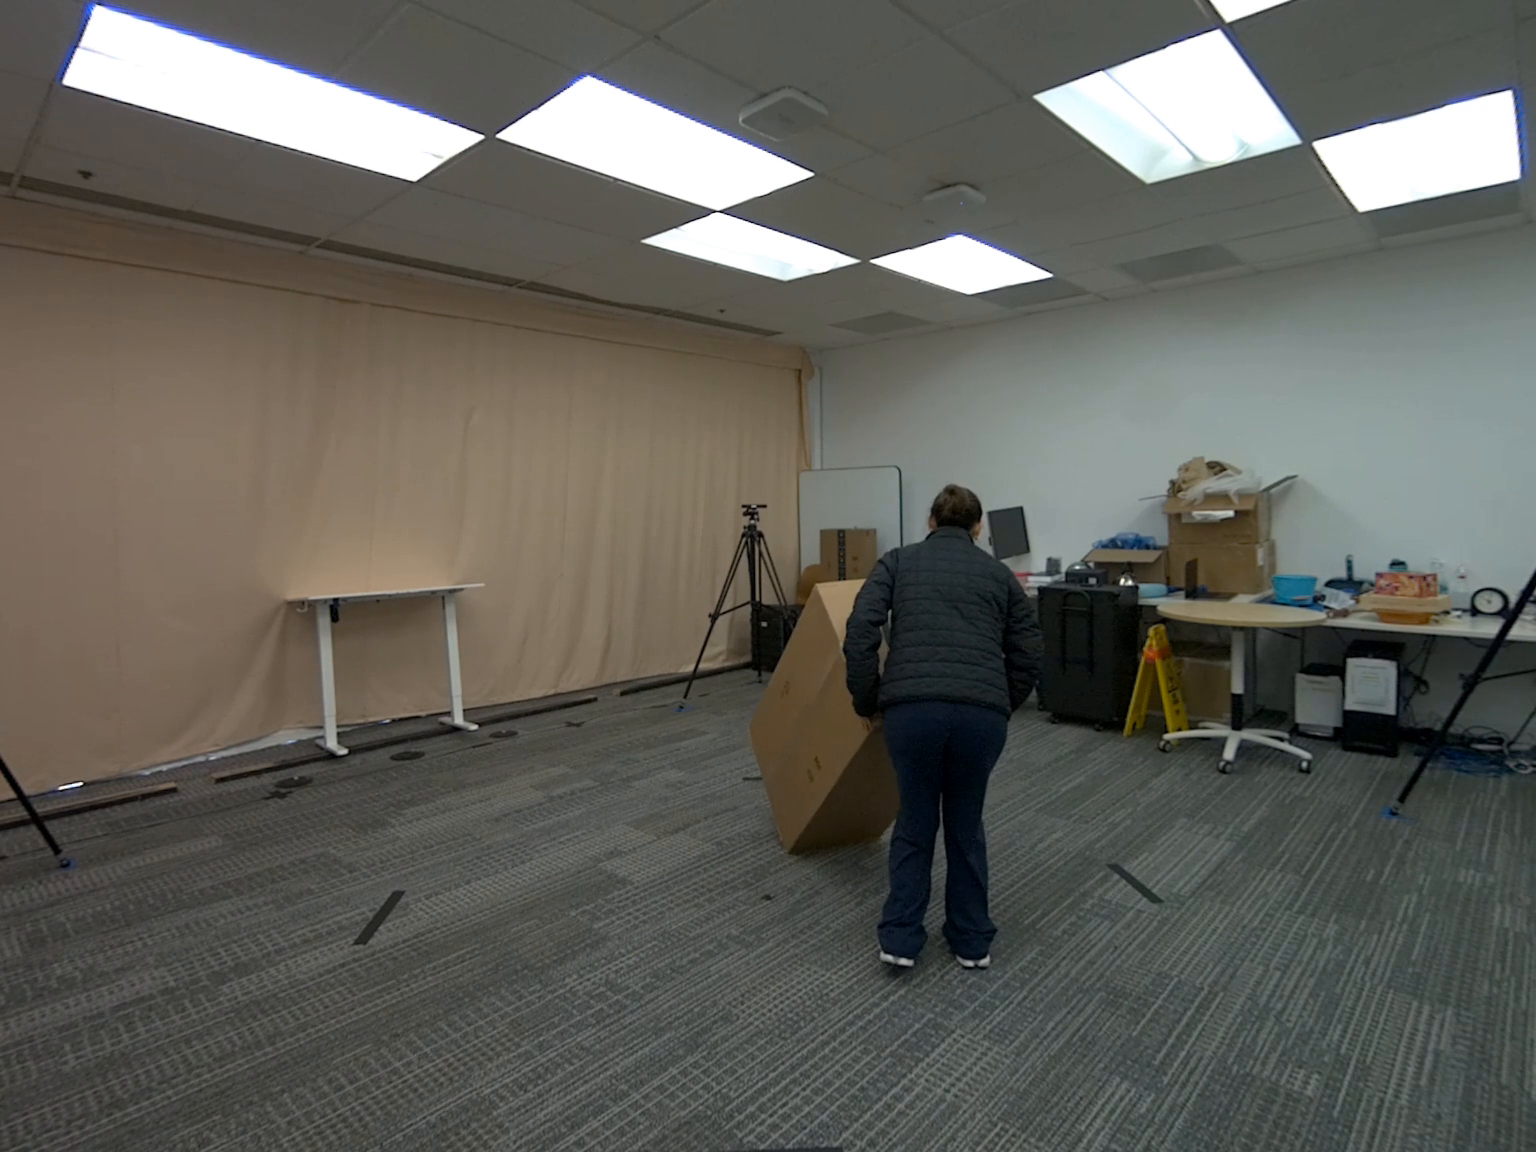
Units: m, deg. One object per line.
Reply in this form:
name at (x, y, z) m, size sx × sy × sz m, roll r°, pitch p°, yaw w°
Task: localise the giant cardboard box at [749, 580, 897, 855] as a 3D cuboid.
giant cardboard box at (0.327, 0.553, 3.233) m, size 0.438 × 0.599 × 1.020 m, roll -2°, pitch -39°, yaw -21°
